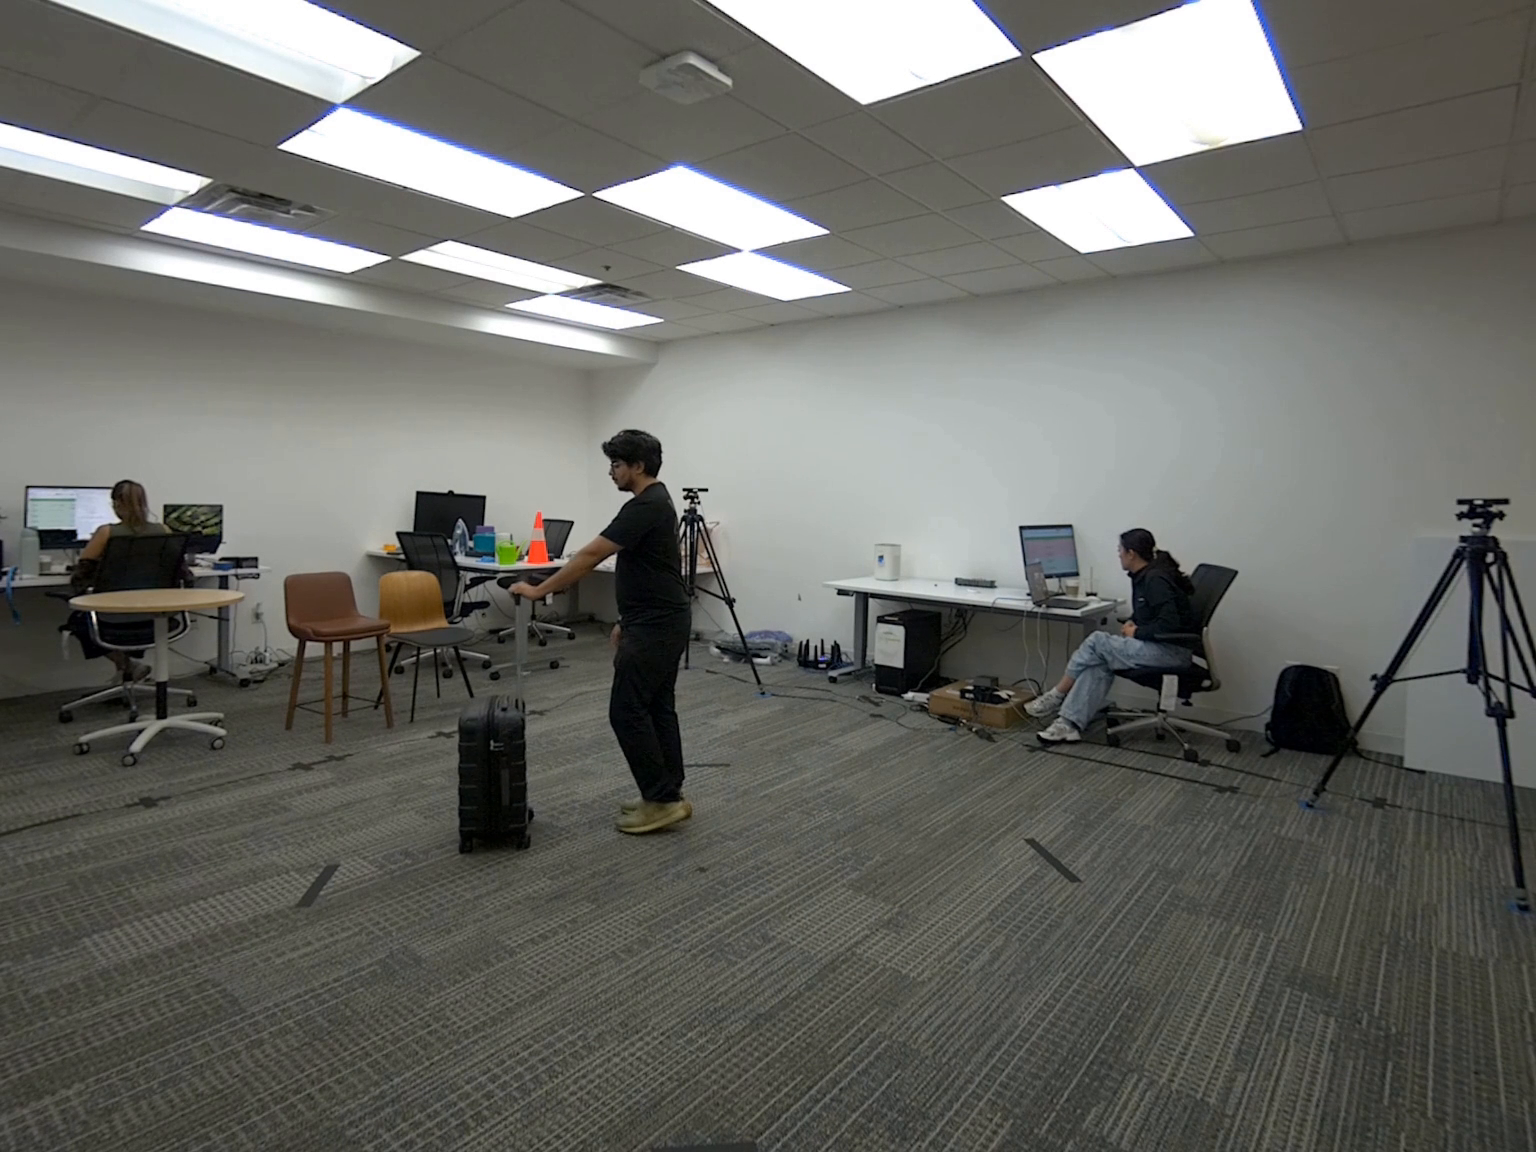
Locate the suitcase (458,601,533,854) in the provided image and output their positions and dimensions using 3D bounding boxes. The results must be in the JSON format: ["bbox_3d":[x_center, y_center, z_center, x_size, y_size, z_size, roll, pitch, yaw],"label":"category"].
[{"bbox_3d":[-1.088,0.554,3.336,0.254,0.975,0.389,-2,4,-11],"label":"suitcase"}]
